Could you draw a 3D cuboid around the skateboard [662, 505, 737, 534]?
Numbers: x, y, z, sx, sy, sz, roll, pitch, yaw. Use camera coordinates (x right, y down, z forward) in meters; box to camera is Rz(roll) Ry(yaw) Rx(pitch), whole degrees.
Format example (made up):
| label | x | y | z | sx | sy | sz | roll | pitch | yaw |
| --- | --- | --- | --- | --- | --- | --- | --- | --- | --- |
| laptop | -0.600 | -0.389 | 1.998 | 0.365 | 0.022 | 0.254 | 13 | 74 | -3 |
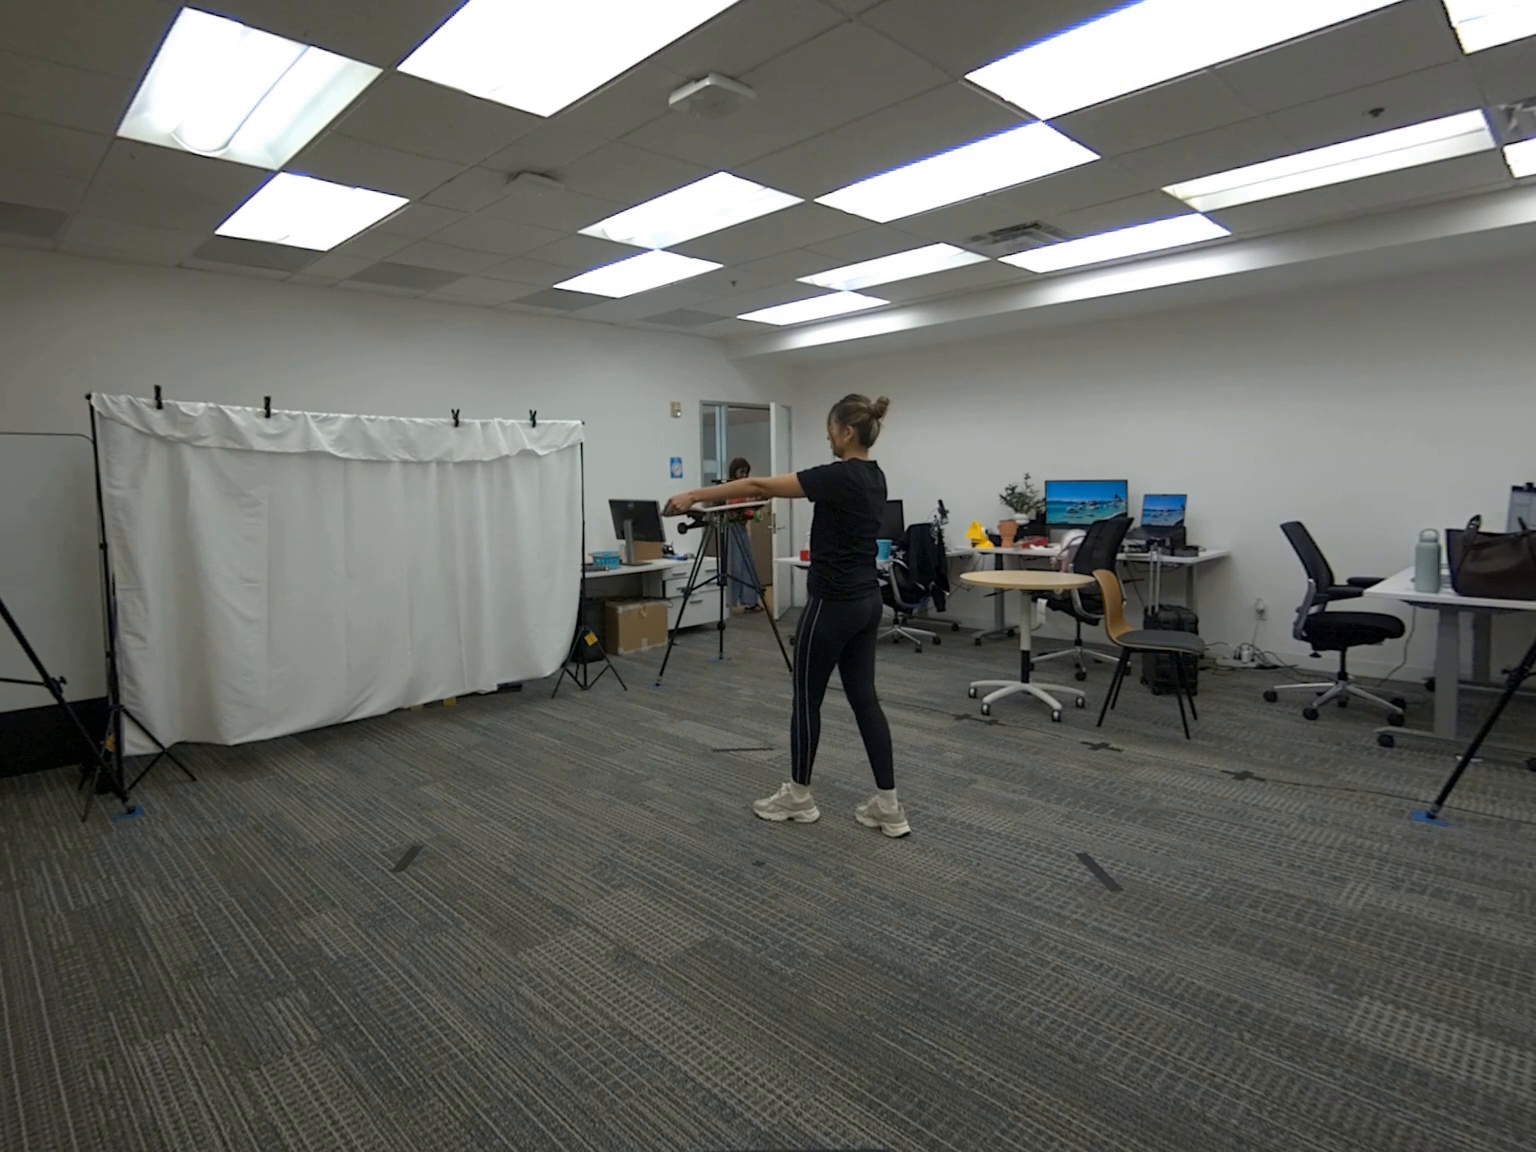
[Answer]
| label | x | y | z | sx | sy | sz | roll | pitch | yaw |
| --- | --- | --- | --- | --- | --- | --- | --- | --- | --- |
| skateboard | -0.223 | -0.267 | 3.672 | 0.197 | 0.110 | 0.772 | -11 | 3 | 26 |
